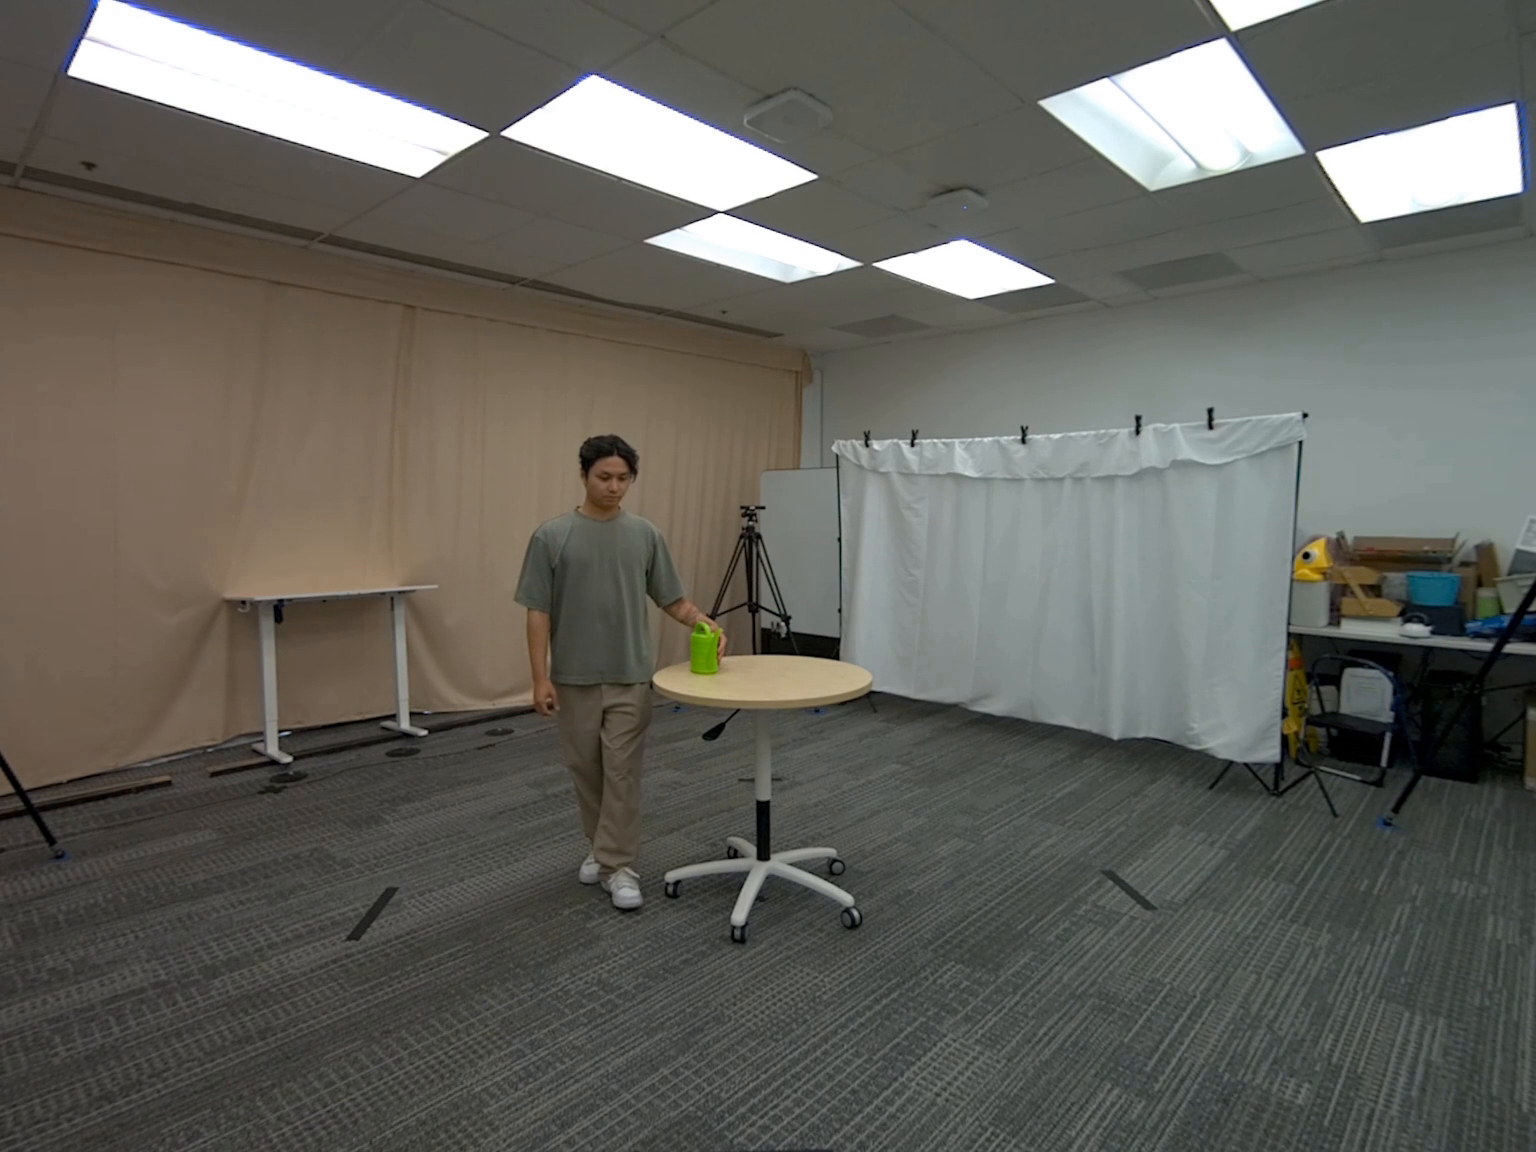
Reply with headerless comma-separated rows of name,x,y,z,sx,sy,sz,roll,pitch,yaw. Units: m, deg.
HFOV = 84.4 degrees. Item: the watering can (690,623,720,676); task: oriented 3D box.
watering can,-0.239,0.266,2.988,0.098,0.176,0.277,-4,4,4
